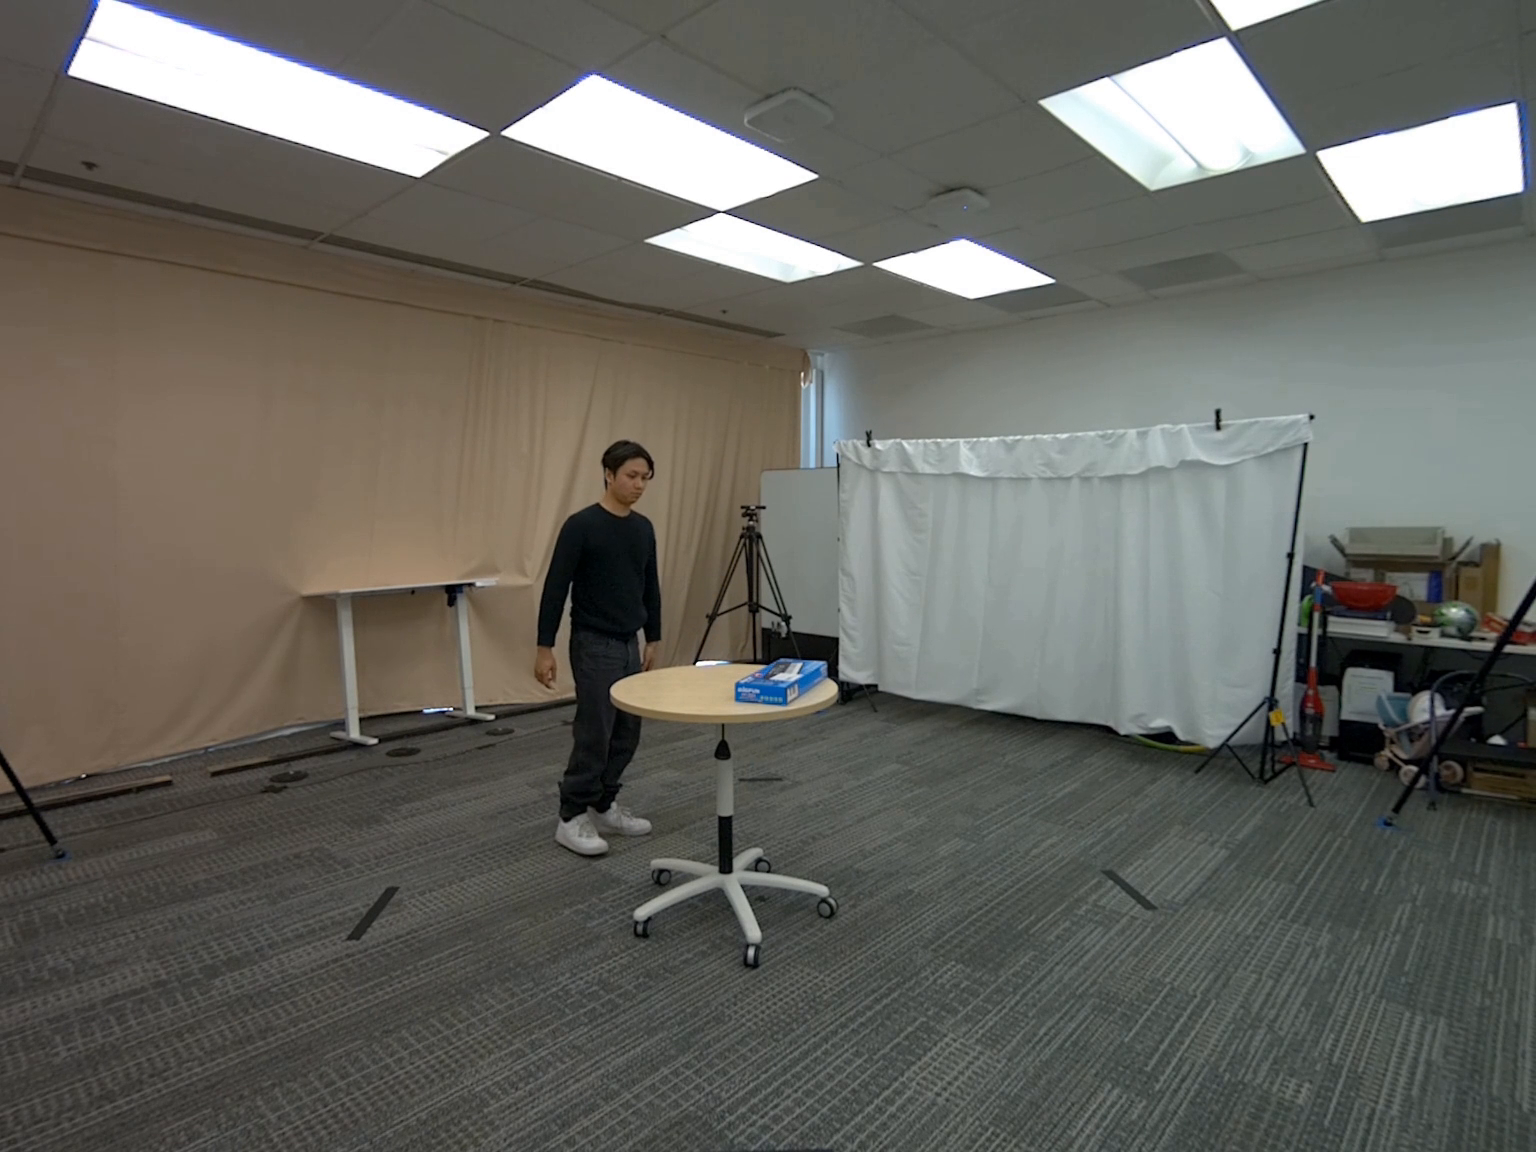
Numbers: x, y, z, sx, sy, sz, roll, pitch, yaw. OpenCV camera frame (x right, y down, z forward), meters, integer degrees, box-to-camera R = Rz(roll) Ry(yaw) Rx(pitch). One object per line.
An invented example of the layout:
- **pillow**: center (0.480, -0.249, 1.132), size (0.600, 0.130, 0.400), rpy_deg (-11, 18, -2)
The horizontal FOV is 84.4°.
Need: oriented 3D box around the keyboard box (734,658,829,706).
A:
- **keyboard box**: center (0.052, 0.350, 2.789), size (0.180, 0.059, 0.428), rpy_deg (1, 6, 21)
